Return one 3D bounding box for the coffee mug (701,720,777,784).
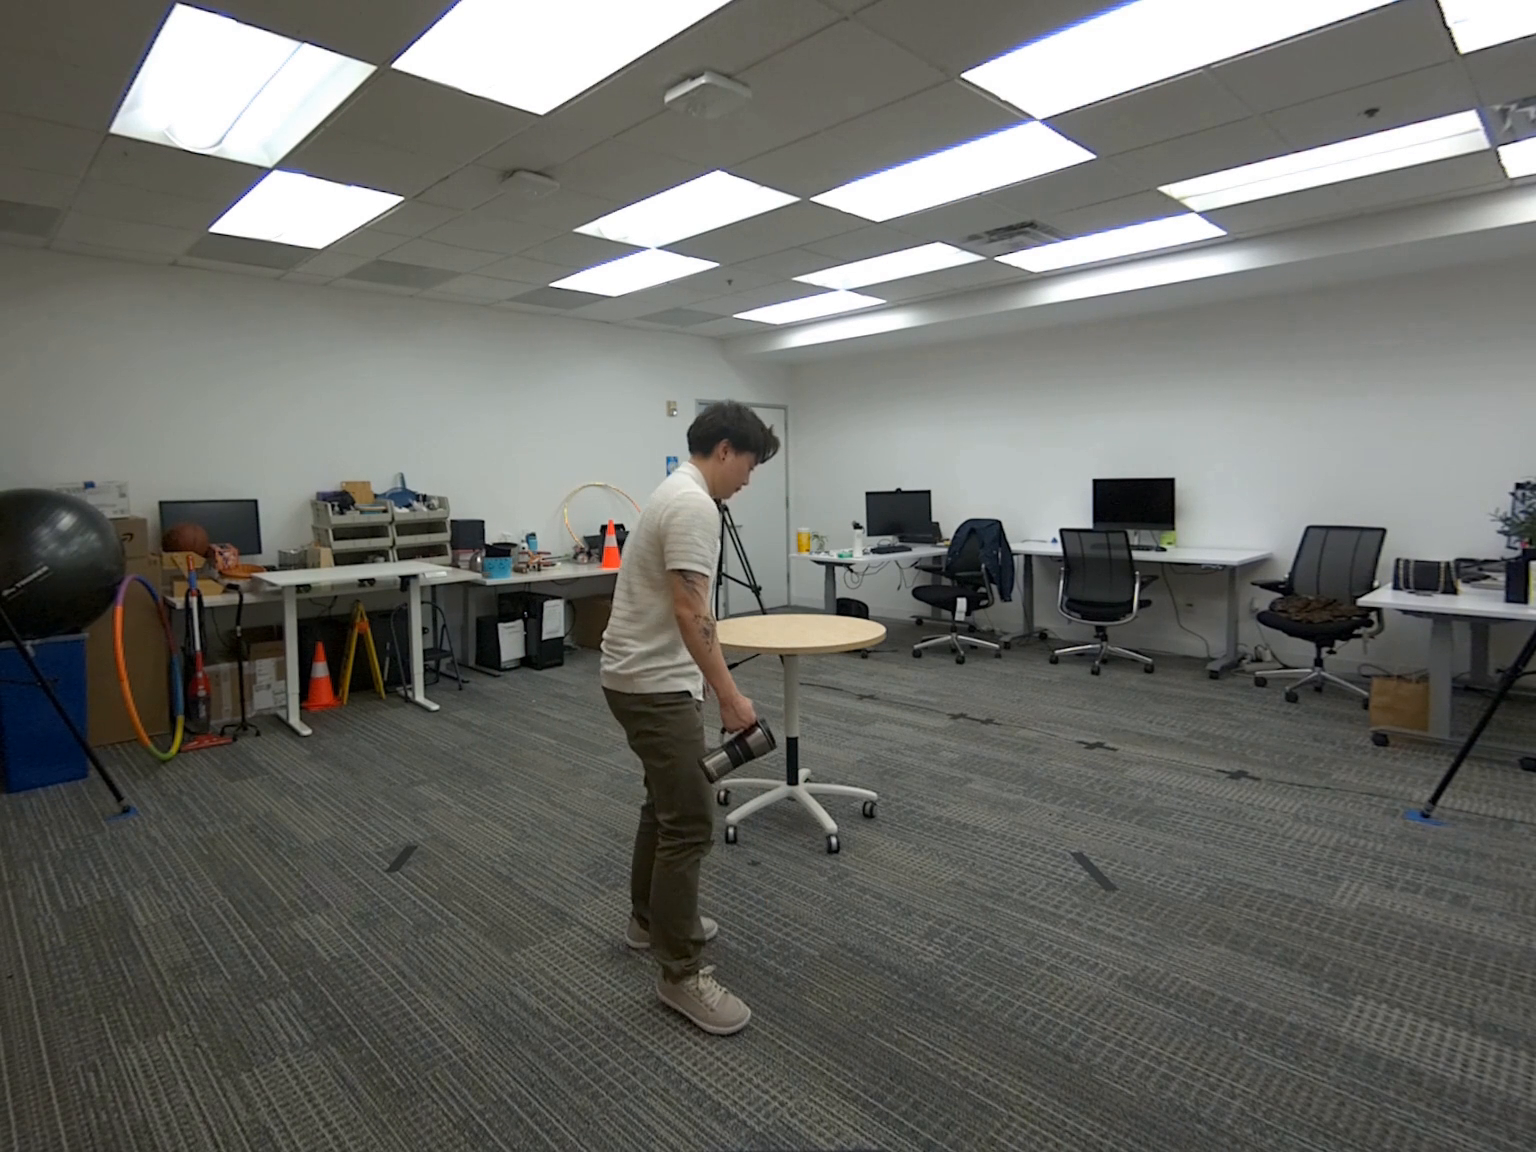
[{"bbox_3d":[-0.098,0.449,2.209,0.203,0.126,0.085,-31,-36,-3],"label":"coffee mug"}]
